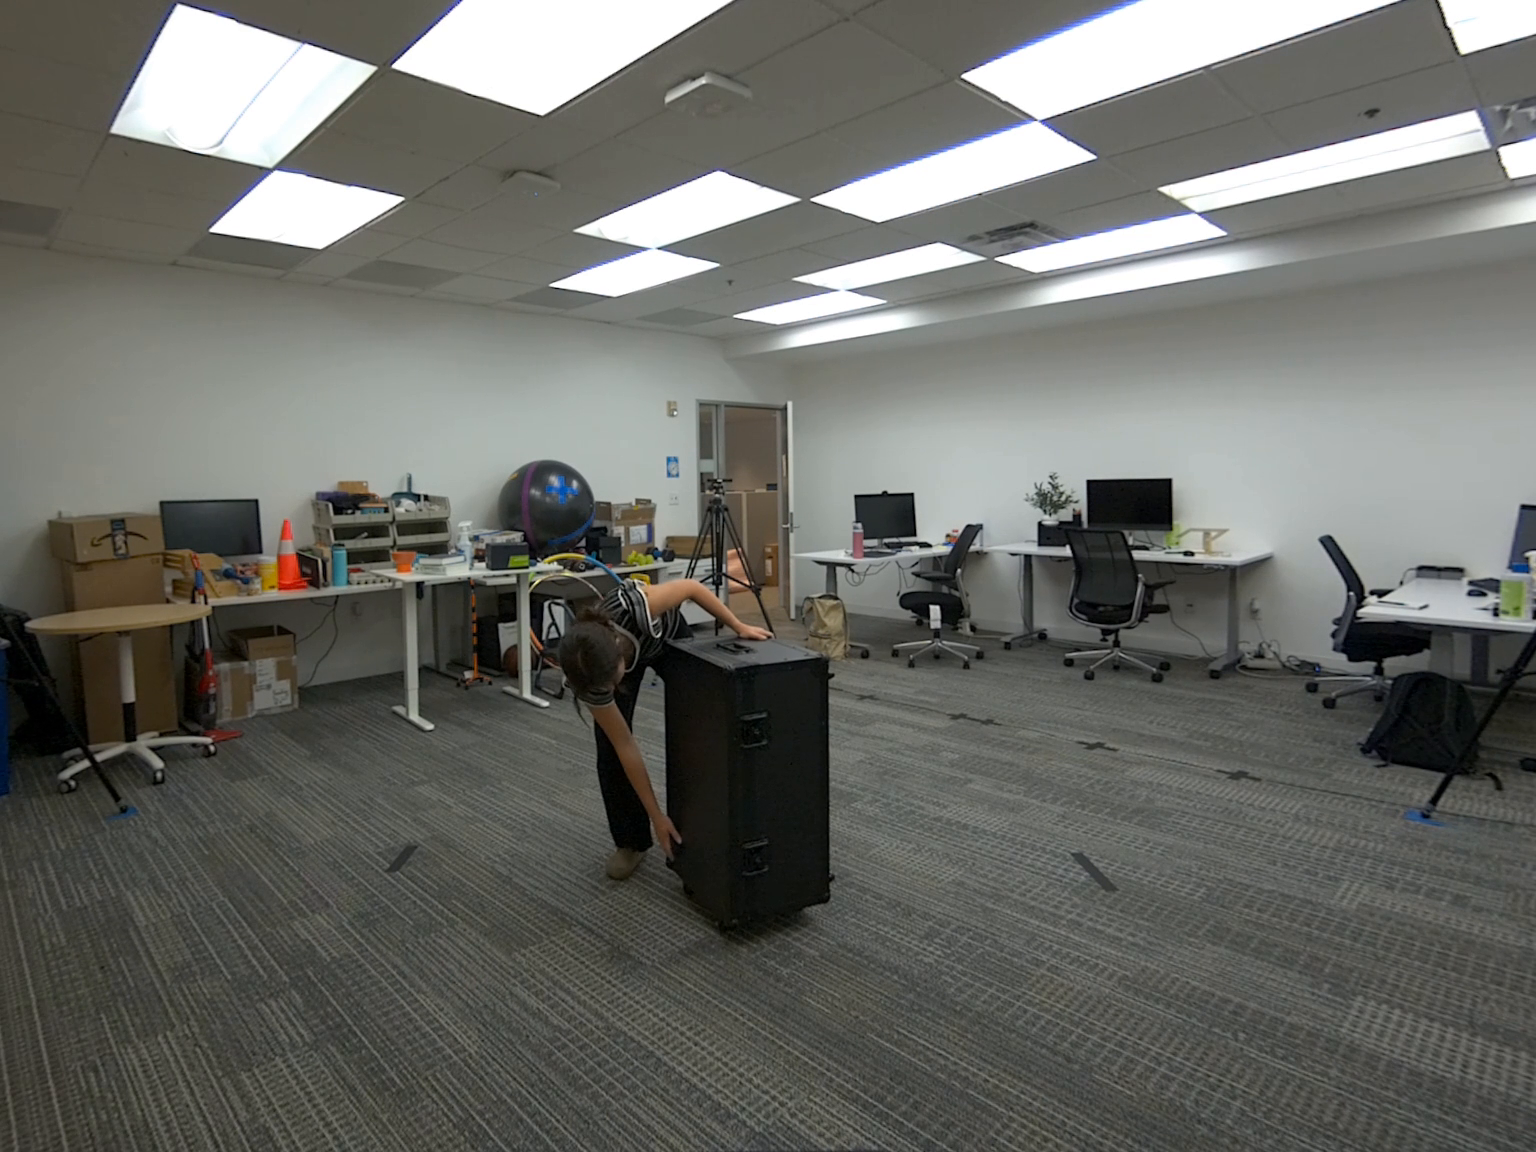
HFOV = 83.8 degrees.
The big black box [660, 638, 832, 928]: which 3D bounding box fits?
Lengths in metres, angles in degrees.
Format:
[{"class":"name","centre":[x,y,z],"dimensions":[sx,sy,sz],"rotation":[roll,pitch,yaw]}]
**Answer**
[{"class":"big black box","centre":[-0.071,0.658,2.793],"dimensions":[0.387,0.858,0.535],"rotation":[-2,4,-27]}]
